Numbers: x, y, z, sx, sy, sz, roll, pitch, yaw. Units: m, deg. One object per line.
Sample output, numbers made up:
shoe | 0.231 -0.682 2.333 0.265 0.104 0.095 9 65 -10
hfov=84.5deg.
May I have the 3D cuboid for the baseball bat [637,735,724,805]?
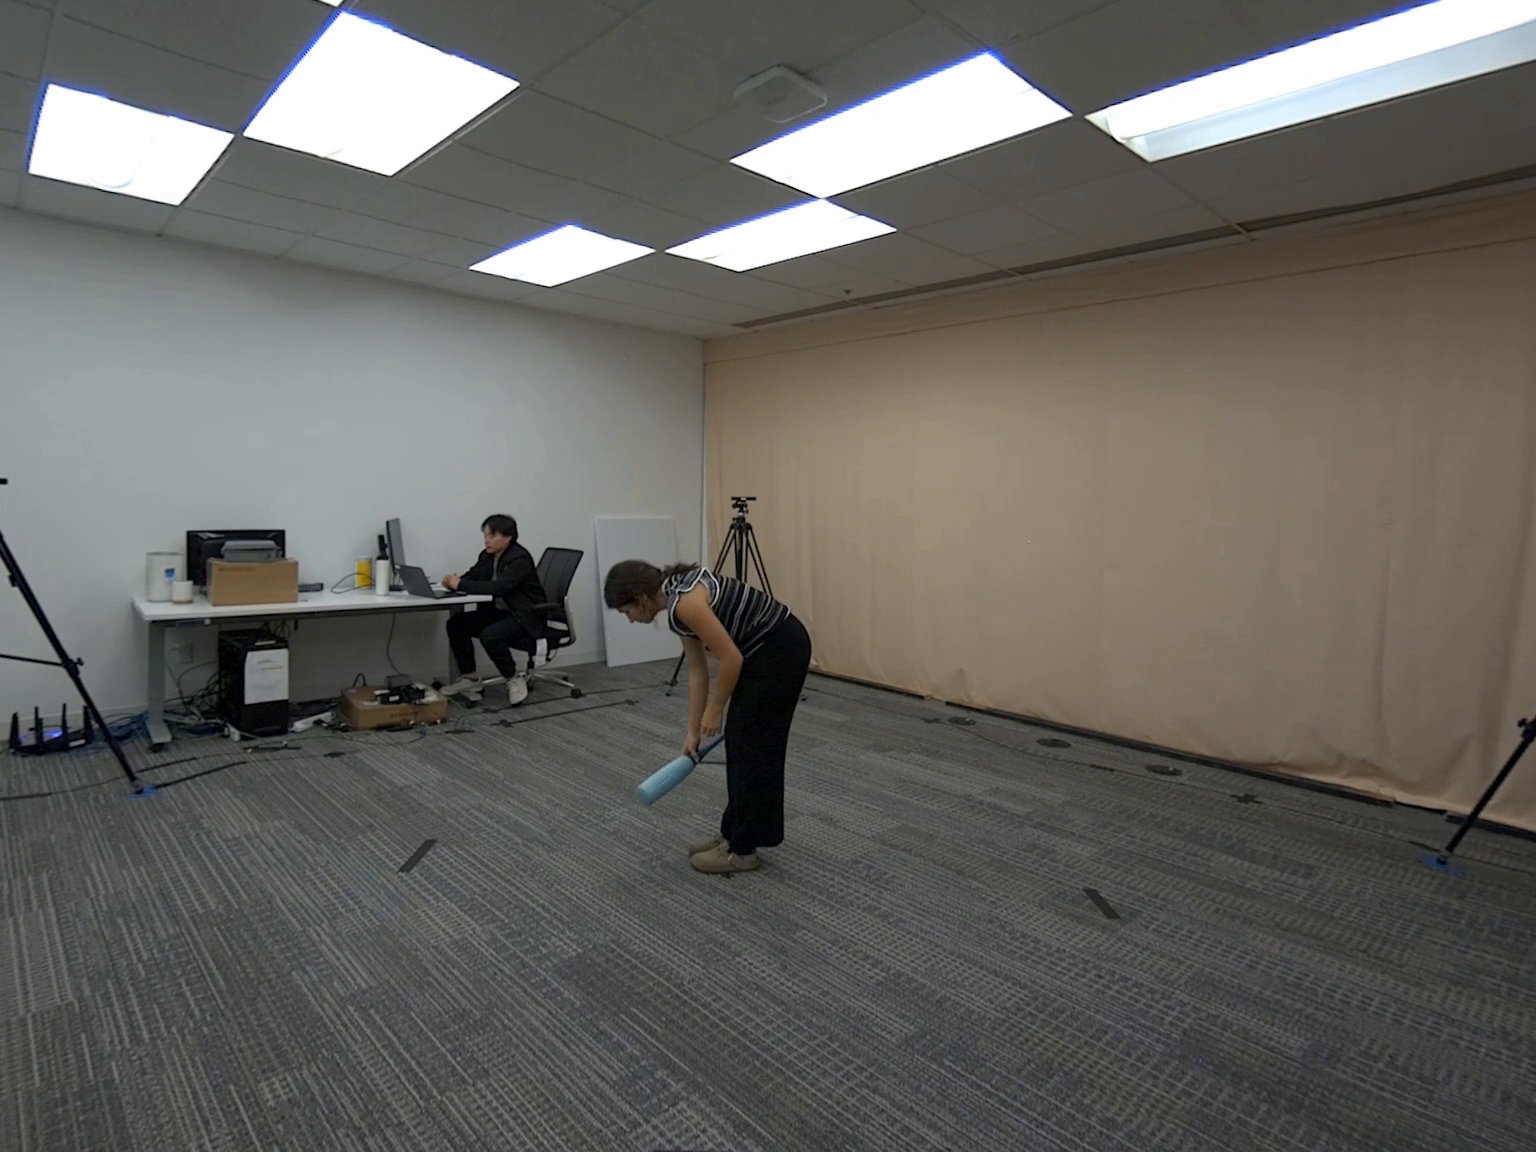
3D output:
baseball bat | -0.309 0.736 3.333 0.091 0.088 0.537 5 24 40
